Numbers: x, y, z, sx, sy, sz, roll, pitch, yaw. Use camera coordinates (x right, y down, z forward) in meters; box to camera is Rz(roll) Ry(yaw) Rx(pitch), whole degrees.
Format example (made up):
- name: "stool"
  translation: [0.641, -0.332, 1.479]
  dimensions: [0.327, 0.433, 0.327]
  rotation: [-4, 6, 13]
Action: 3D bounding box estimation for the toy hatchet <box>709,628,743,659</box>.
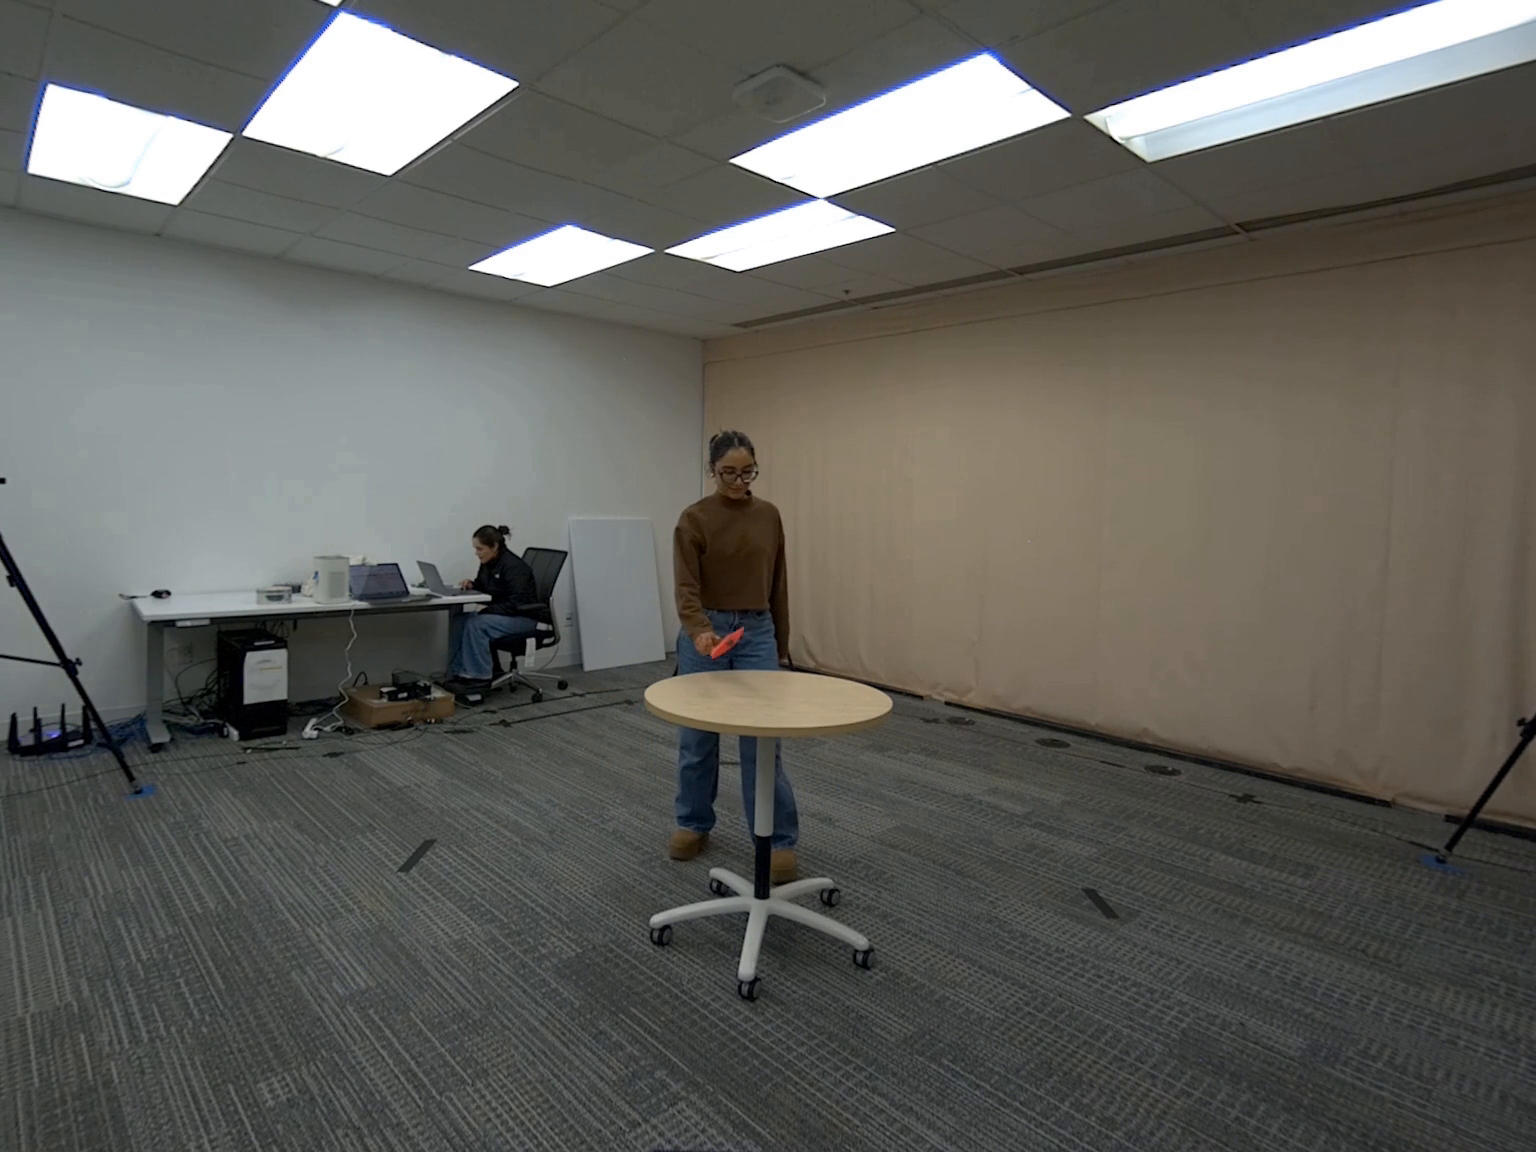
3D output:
- name: "toy hatchet"
  translation: [-0.175, 0.192, 2.728]
  dimensions: [0.131, 0.029, 0.273]
  rotation: [-43, 11, 2]
